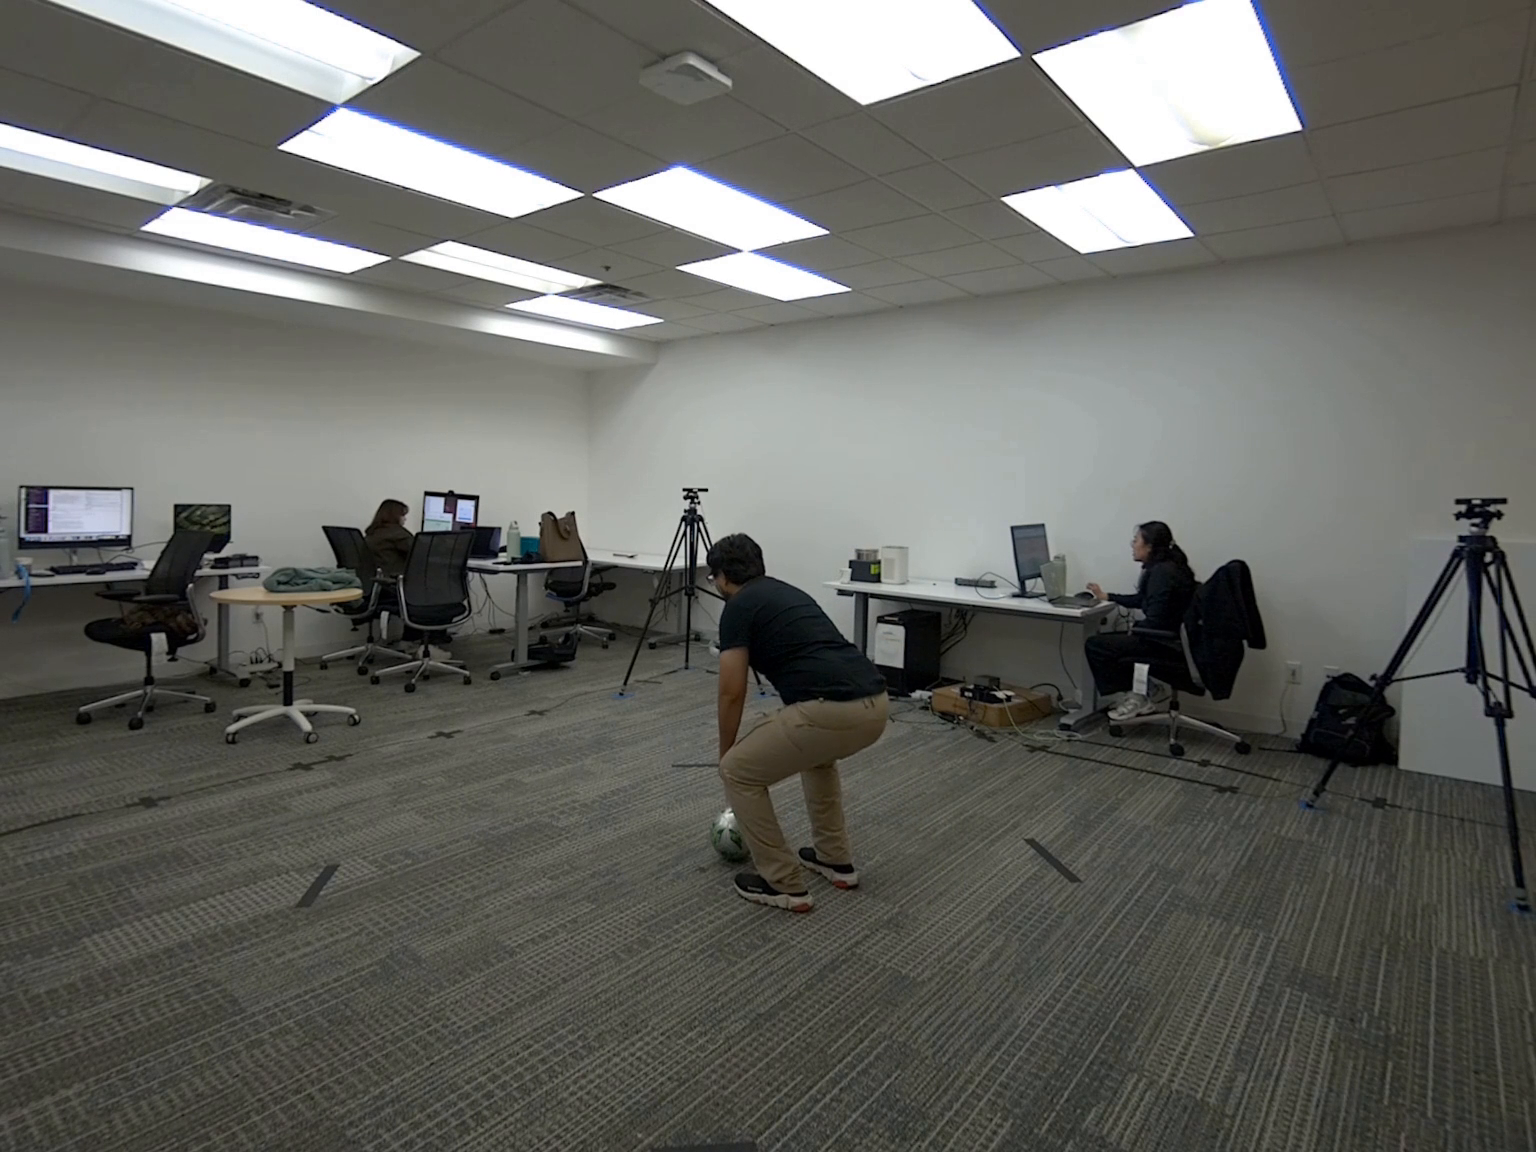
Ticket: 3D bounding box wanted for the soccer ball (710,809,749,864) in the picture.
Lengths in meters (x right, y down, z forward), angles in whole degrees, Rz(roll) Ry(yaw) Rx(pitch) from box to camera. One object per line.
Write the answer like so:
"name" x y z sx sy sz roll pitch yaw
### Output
"soccer ball" -0.139 0.971 3.212 0.187 0.187 0.188 1 4 -2
